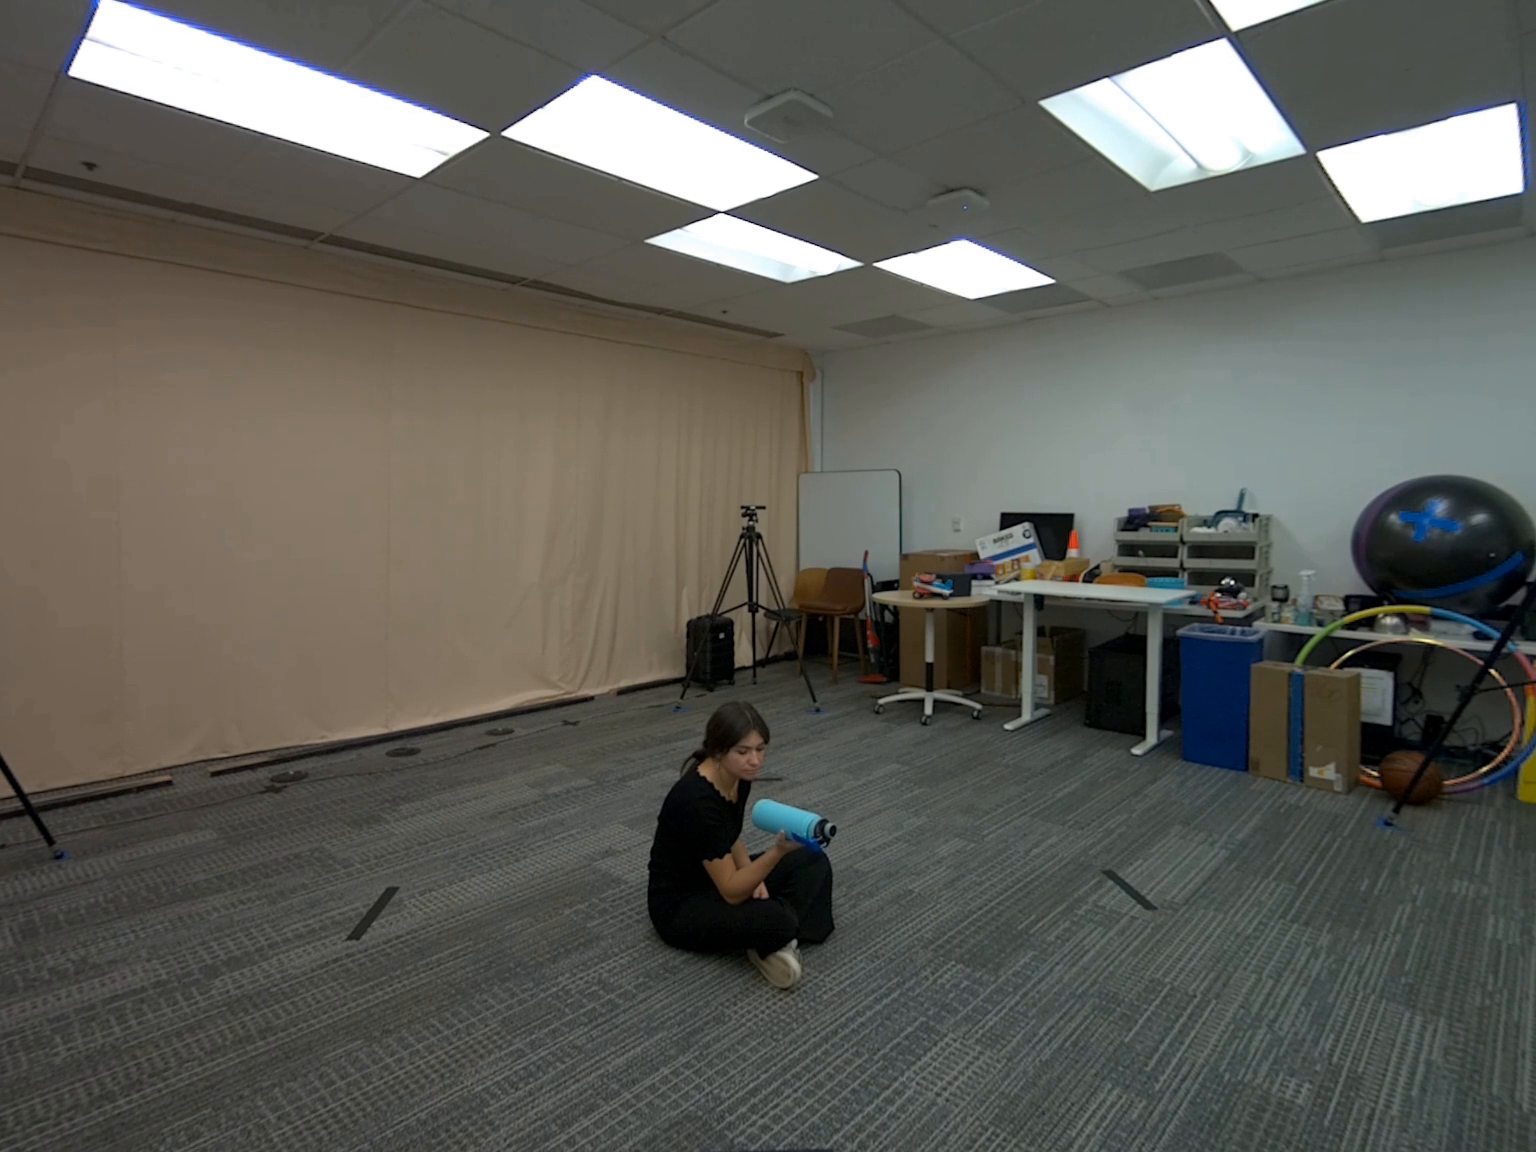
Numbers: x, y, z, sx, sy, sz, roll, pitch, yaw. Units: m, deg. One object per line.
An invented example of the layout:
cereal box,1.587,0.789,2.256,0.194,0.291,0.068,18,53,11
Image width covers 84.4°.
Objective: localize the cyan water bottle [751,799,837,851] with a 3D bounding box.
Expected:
cyan water bottle,0.080,0.714,2.421,0.089,0.092,0.292,-3,2,-41
